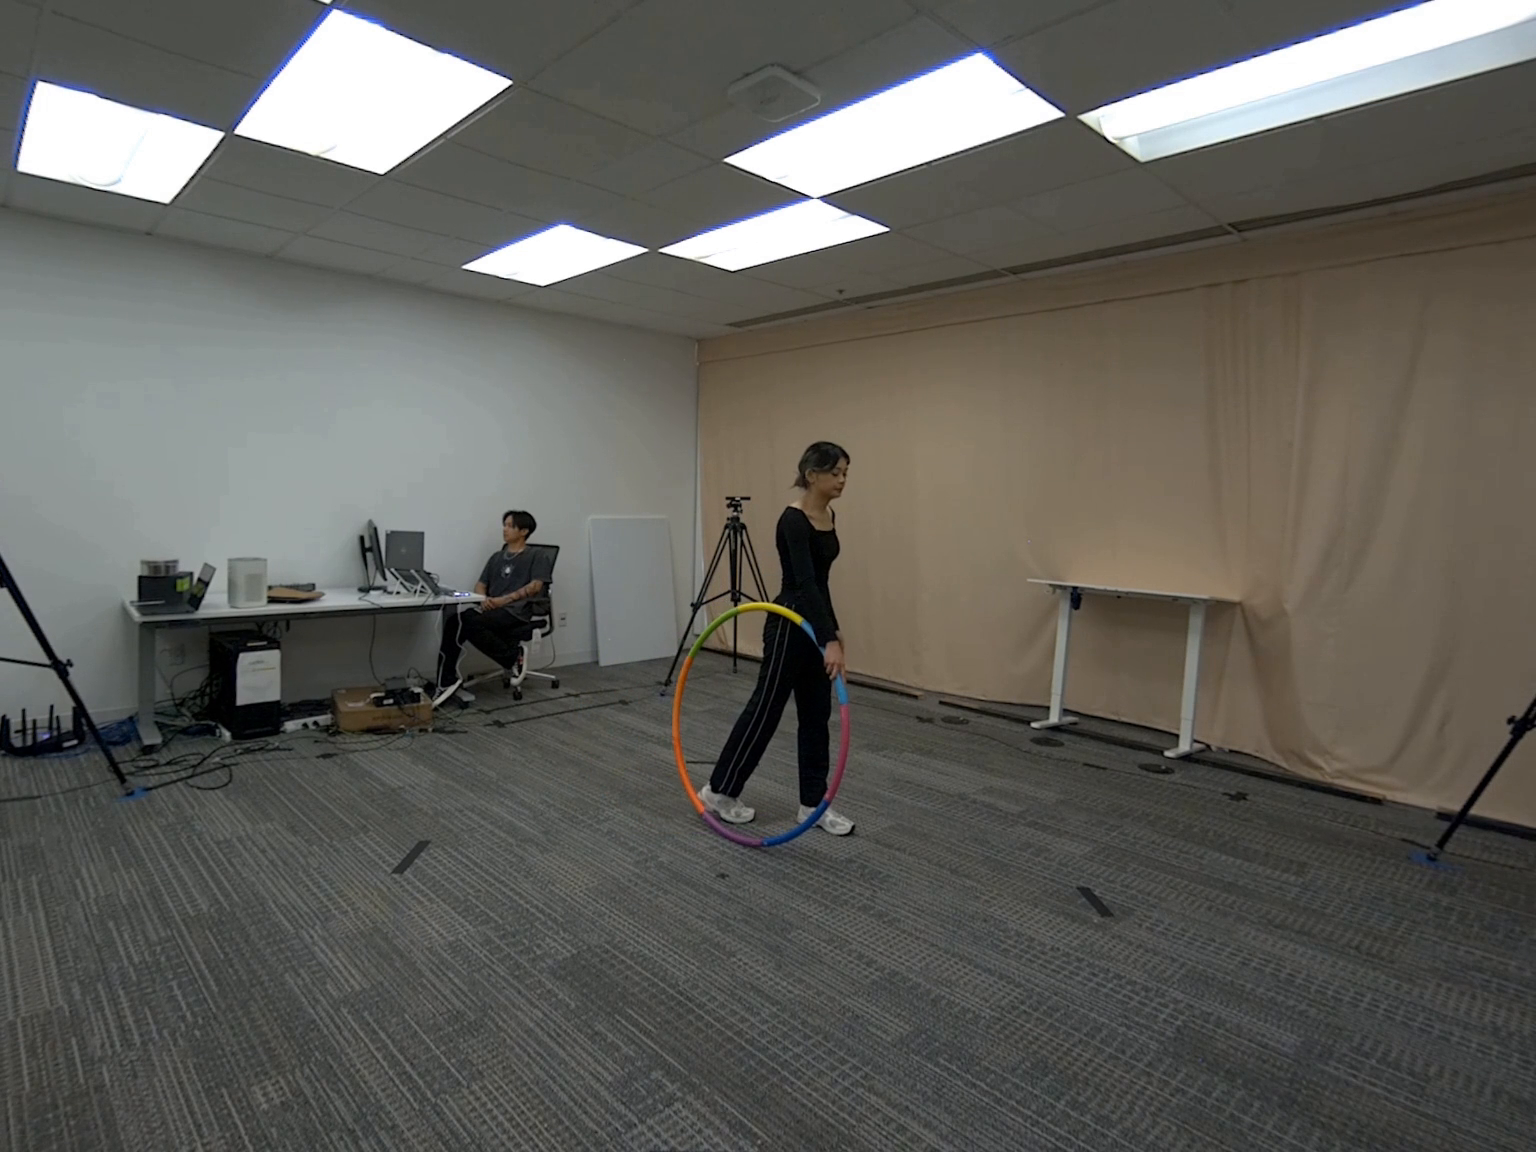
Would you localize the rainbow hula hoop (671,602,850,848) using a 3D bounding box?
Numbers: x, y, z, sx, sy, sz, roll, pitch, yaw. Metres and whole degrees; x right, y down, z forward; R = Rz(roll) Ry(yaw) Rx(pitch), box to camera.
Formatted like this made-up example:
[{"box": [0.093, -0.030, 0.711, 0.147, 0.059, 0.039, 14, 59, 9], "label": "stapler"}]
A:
[{"box": [-0.079, 0.601, 3.447, 0.034, 0.980, 1.004, 10, -3, -45], "label": "rainbow hula hoop"}]
